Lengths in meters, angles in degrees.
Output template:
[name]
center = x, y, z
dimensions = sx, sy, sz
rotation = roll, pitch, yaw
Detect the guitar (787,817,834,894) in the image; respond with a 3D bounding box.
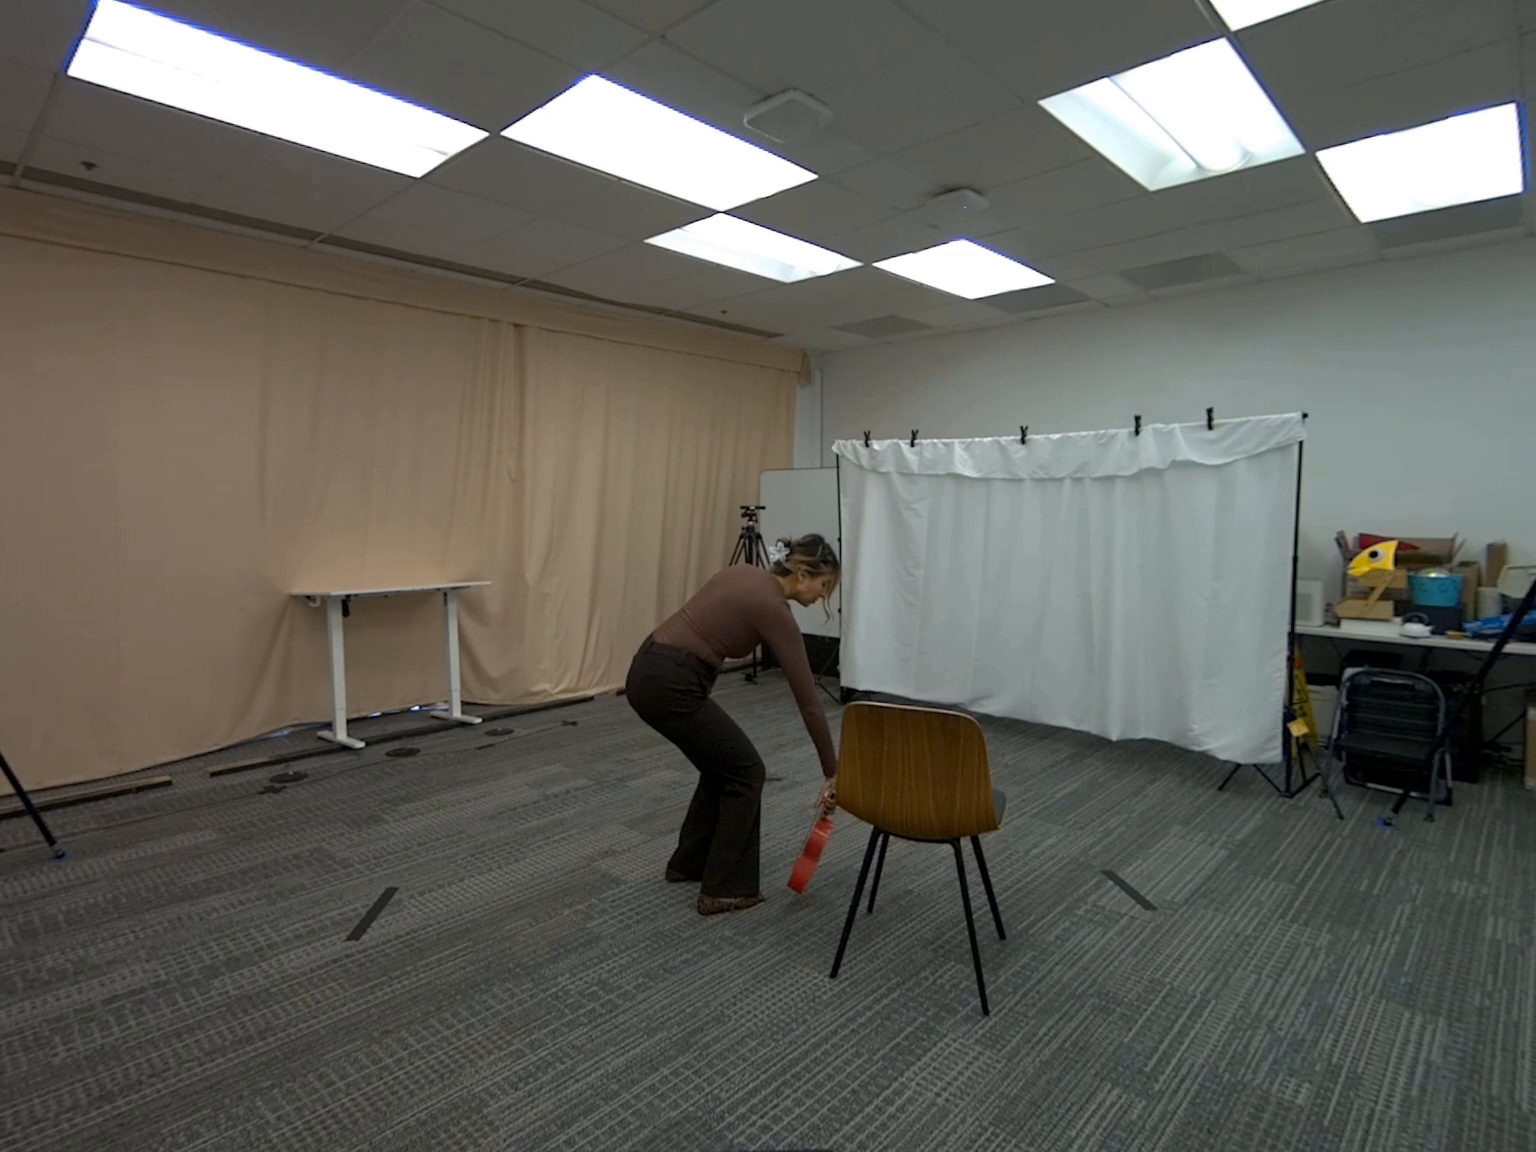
[guitar]
center = 0.185, 0.872, 2.851
dimensions = 0.072, 0.494, 0.191
rotation = 25, 30, 14
